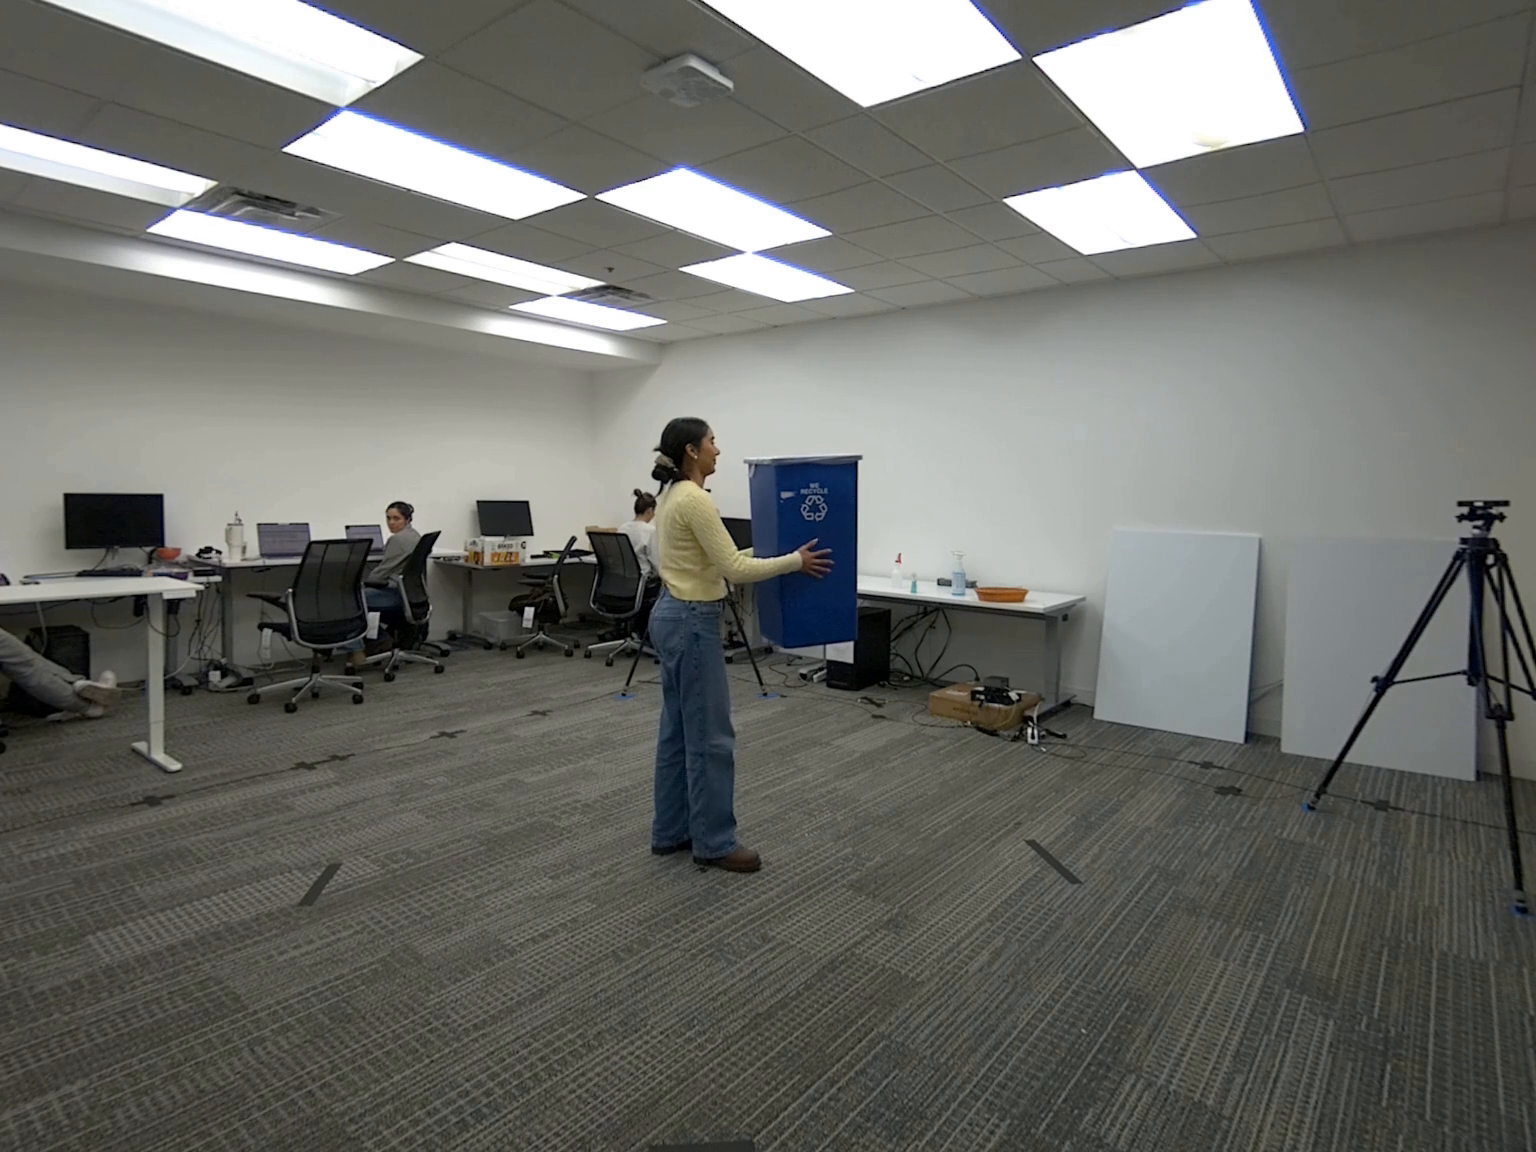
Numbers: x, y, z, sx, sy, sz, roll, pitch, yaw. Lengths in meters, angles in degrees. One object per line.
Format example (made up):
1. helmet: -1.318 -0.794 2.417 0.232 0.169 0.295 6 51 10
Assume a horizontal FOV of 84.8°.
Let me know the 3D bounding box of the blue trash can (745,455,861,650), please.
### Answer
1. blue trash can: 0.134 -0.120 3.316 0.368 0.709 0.387 -4 7 -17
